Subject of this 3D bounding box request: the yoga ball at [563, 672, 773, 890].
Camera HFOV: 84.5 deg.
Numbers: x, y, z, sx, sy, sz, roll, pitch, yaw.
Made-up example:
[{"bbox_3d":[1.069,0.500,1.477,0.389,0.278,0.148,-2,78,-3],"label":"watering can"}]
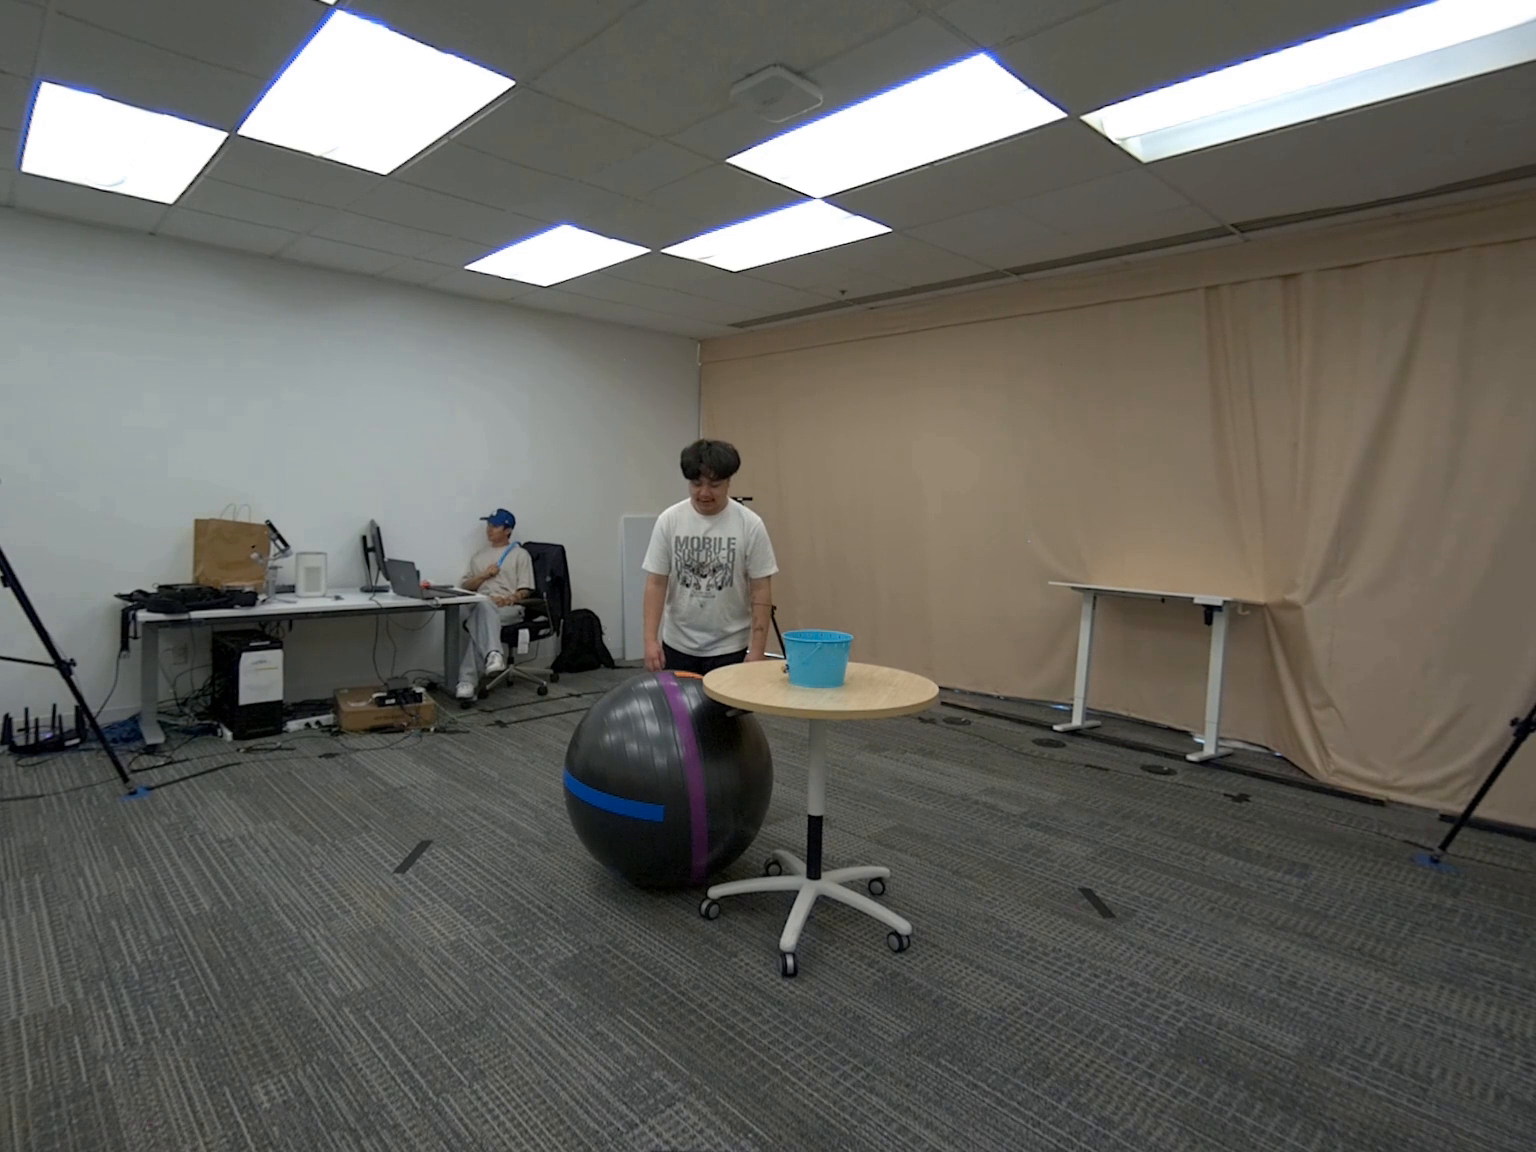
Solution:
[{"bbox_3d":[-0.371,0.733,3.072,0.757,0.756,0.761,1,4,-1],"label":"yoga ball"}]
